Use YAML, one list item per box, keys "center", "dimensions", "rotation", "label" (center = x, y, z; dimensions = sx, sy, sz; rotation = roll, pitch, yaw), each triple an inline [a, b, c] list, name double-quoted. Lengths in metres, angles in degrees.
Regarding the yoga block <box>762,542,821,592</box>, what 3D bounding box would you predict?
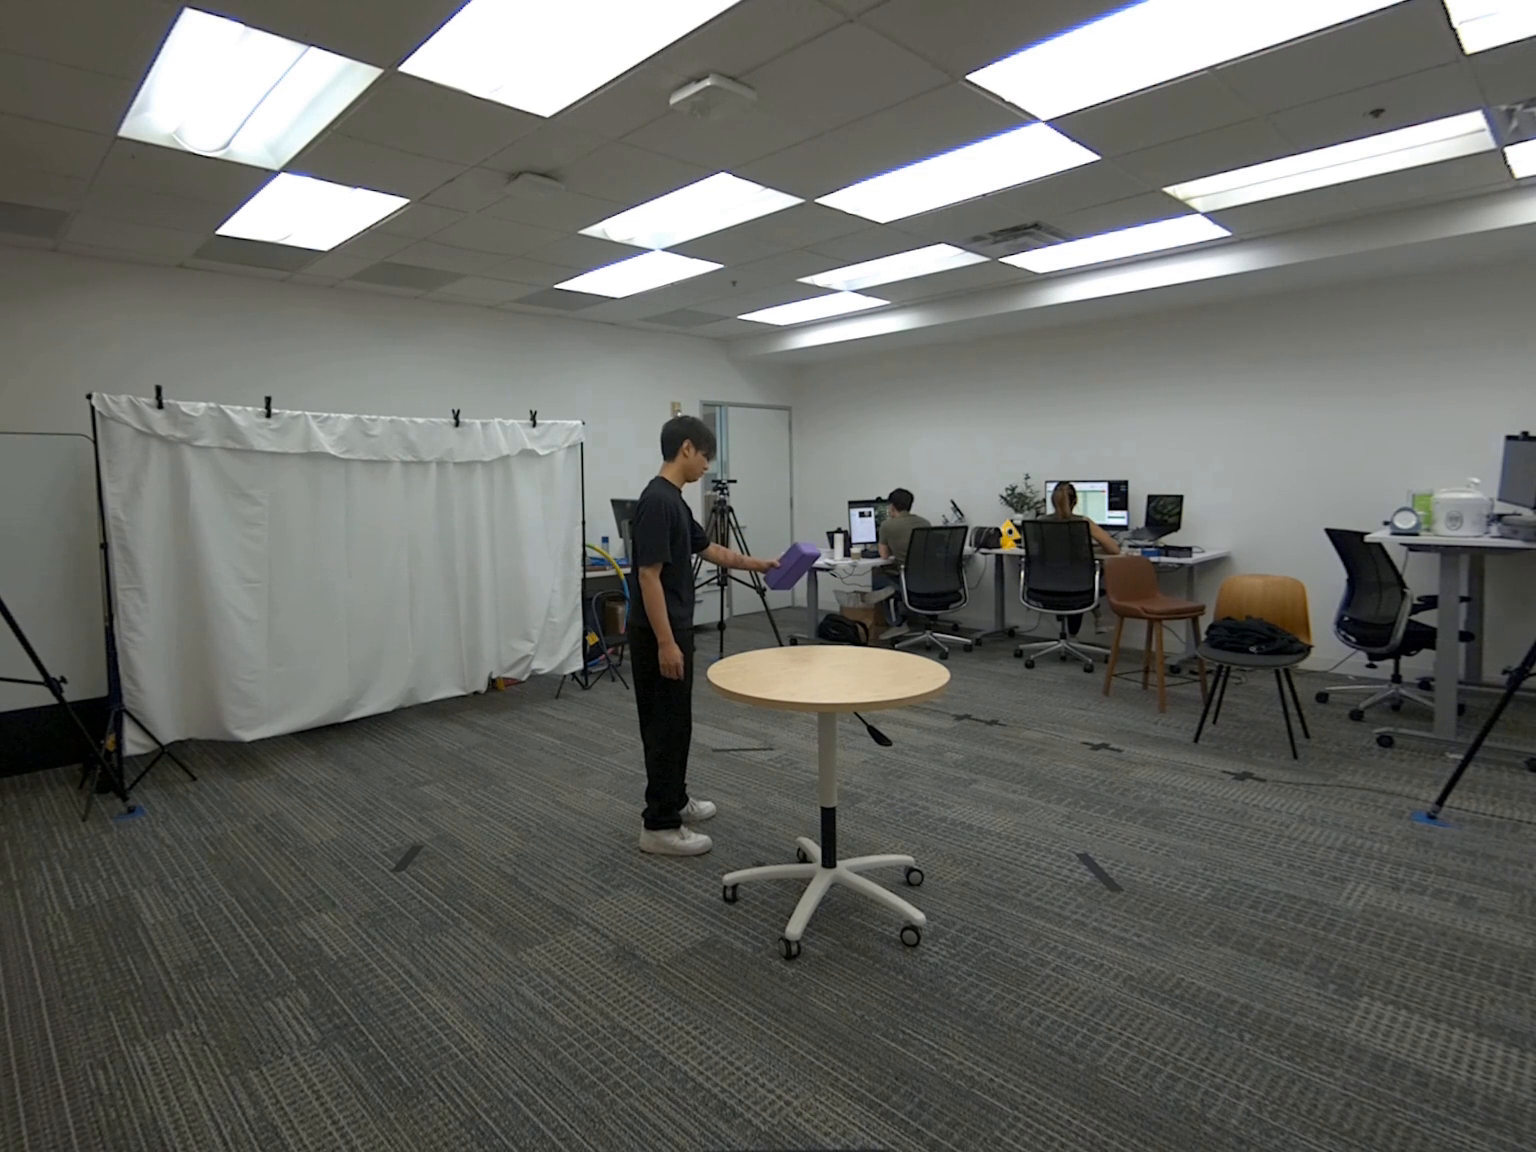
- center: [0.105, -0.044, 3.630]
  dimensions: [0.229, 0.079, 0.145]
  rotation: [-49, -25, 23]
  label: "yoga block"
